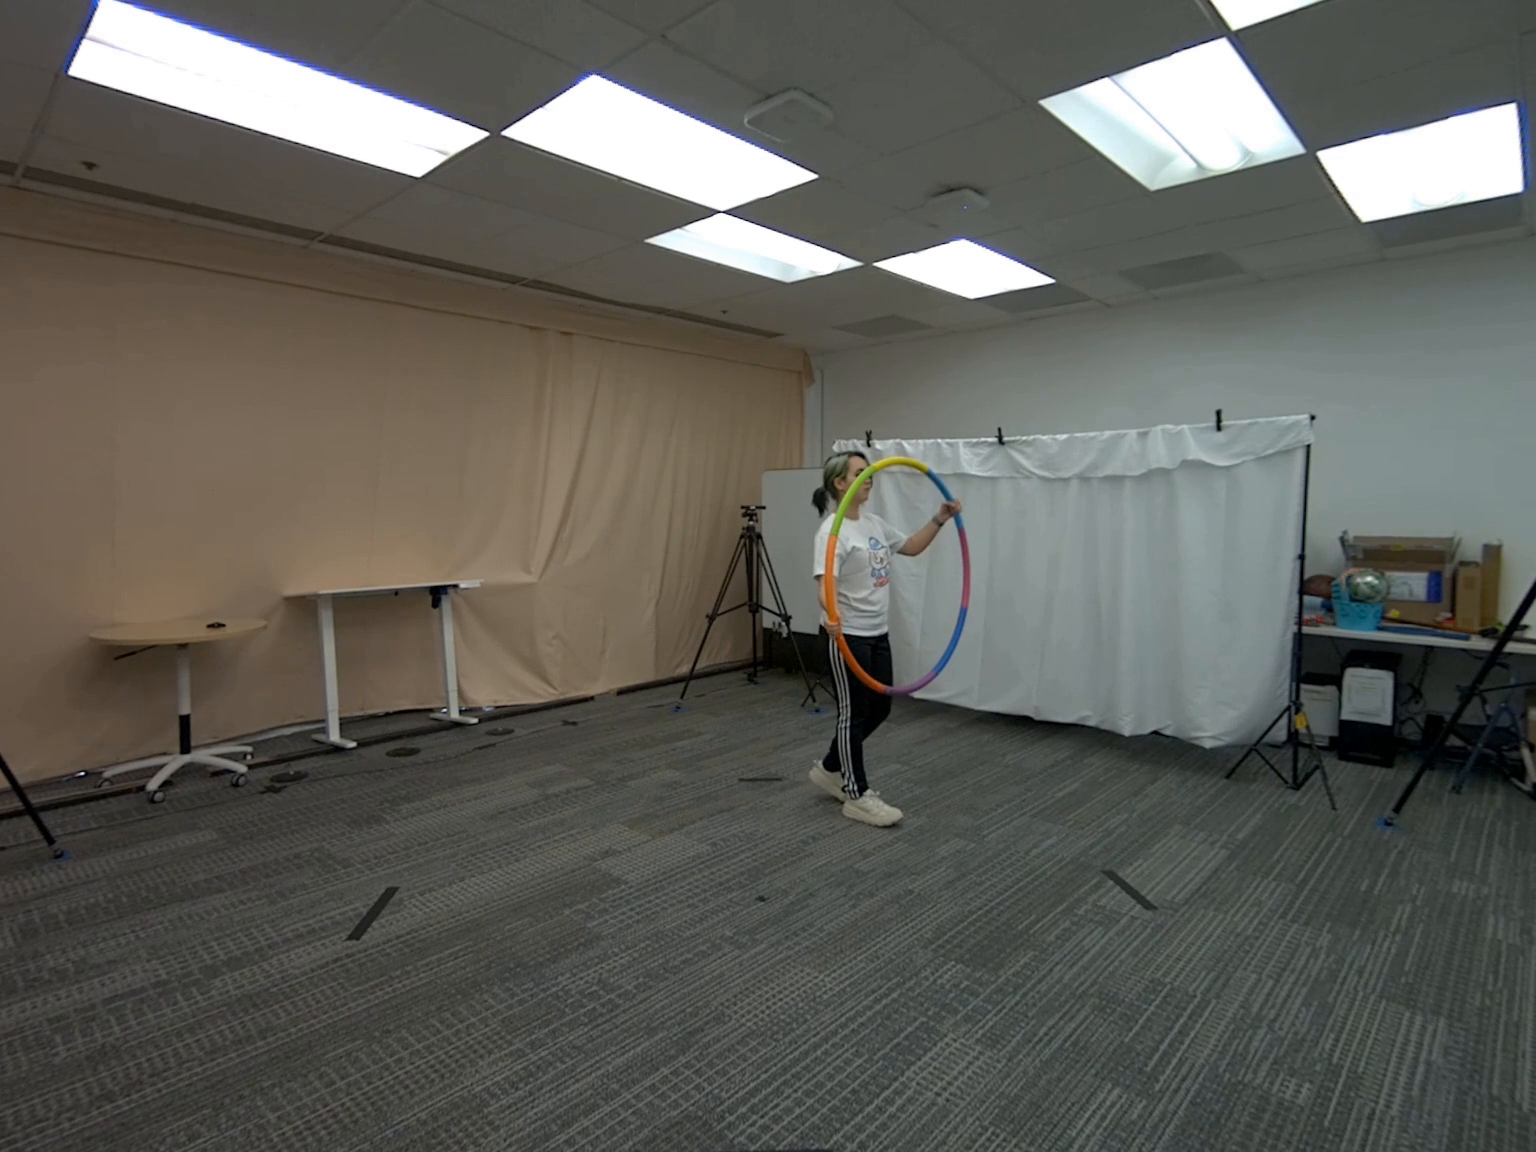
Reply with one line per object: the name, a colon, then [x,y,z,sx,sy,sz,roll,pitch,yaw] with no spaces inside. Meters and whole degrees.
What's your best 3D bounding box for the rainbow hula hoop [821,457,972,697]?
rainbow hula hoop: [0.568,-0.005,3.517,0.949,0.978,0.037,-3,1,-42]
